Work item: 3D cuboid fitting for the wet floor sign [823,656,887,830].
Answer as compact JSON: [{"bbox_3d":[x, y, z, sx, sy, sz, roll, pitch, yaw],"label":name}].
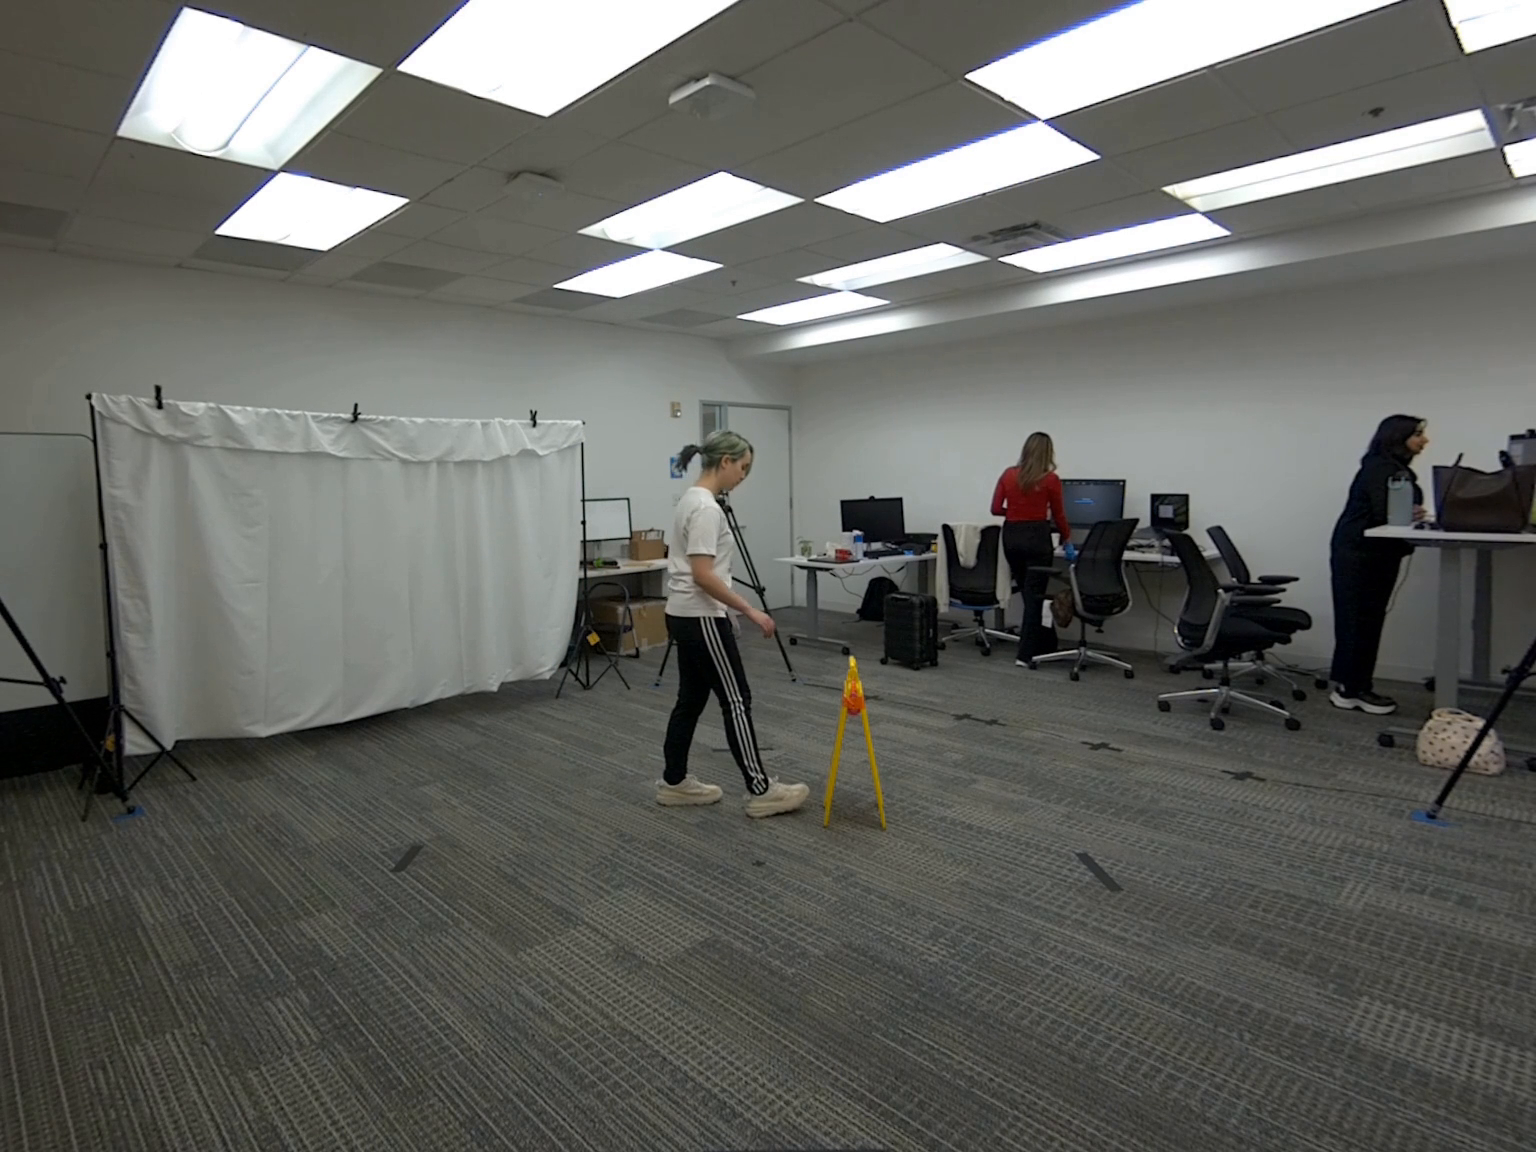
[{"bbox_3d":[0.353,0.668,3.534,0.291,0.645,0.281,-1,2,6],"label":"wet floor sign"}]
